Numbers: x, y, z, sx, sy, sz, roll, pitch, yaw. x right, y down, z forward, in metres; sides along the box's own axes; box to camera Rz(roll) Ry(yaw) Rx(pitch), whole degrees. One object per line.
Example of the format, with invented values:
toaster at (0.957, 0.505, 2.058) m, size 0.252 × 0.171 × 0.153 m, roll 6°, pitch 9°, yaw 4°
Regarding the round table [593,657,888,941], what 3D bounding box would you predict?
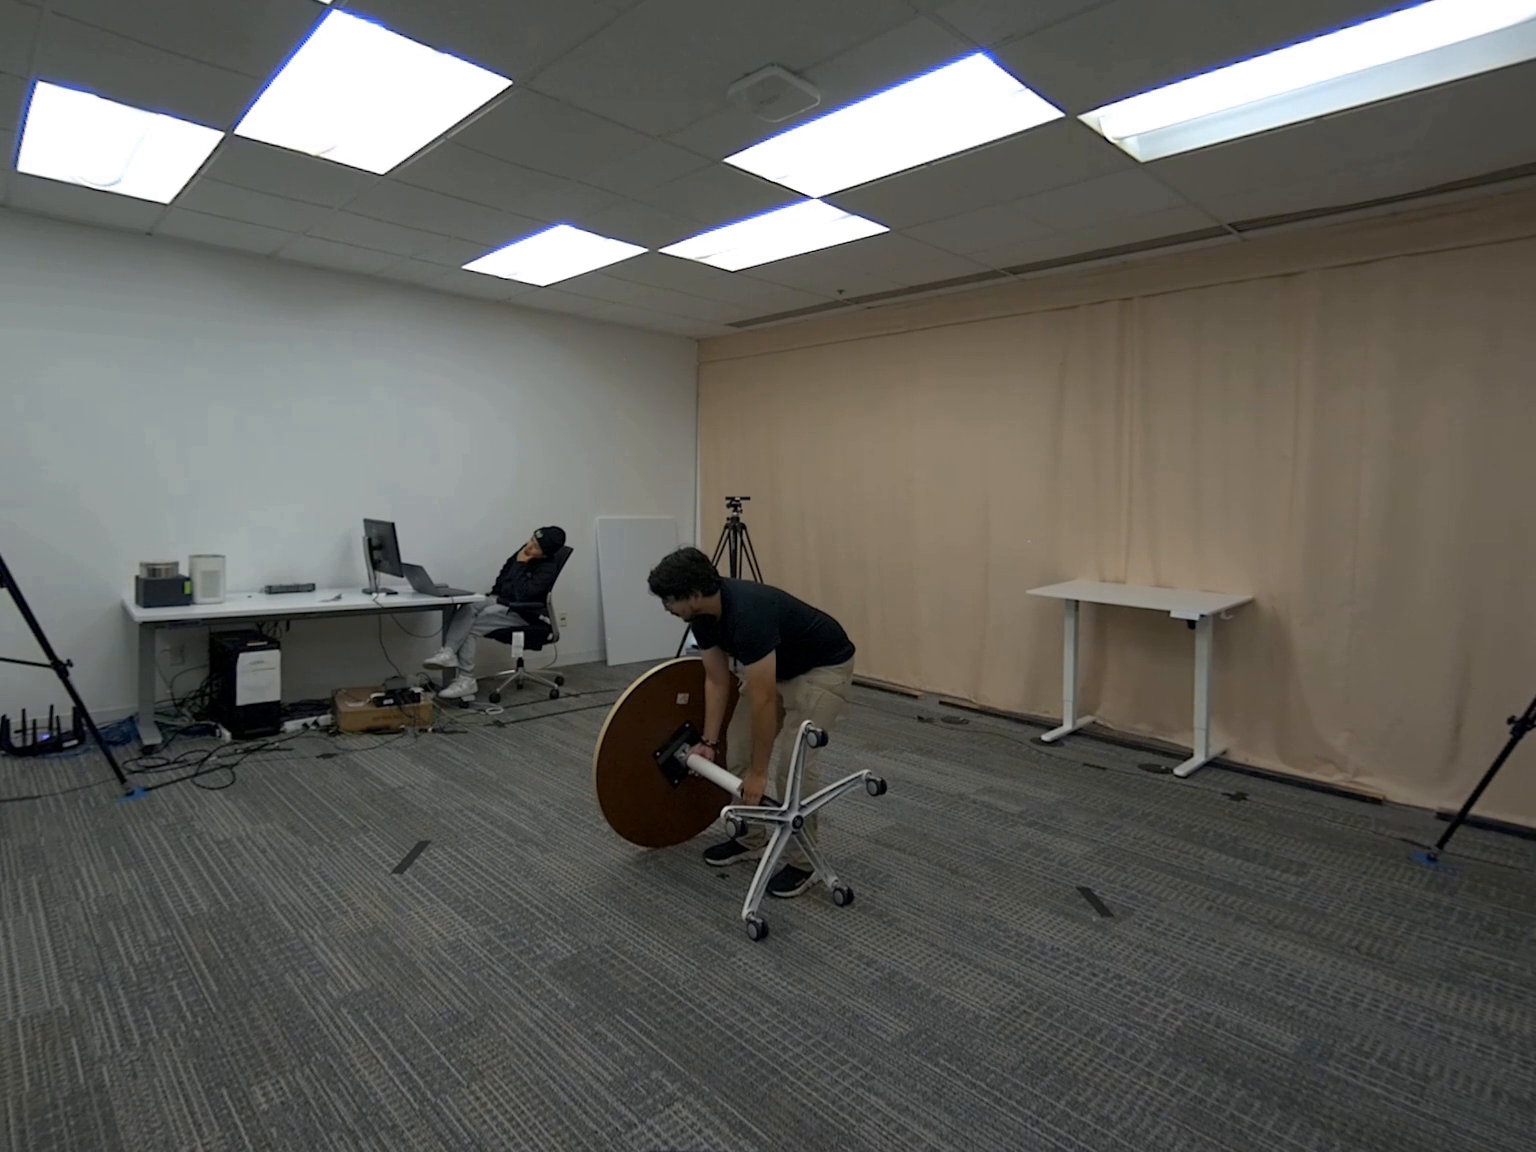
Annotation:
round table at (-0.110, 0.756, 3.031) m, size 0.767 × 0.781 × 0.808 m, roll -2°, pitch 9°, yaw -39°
